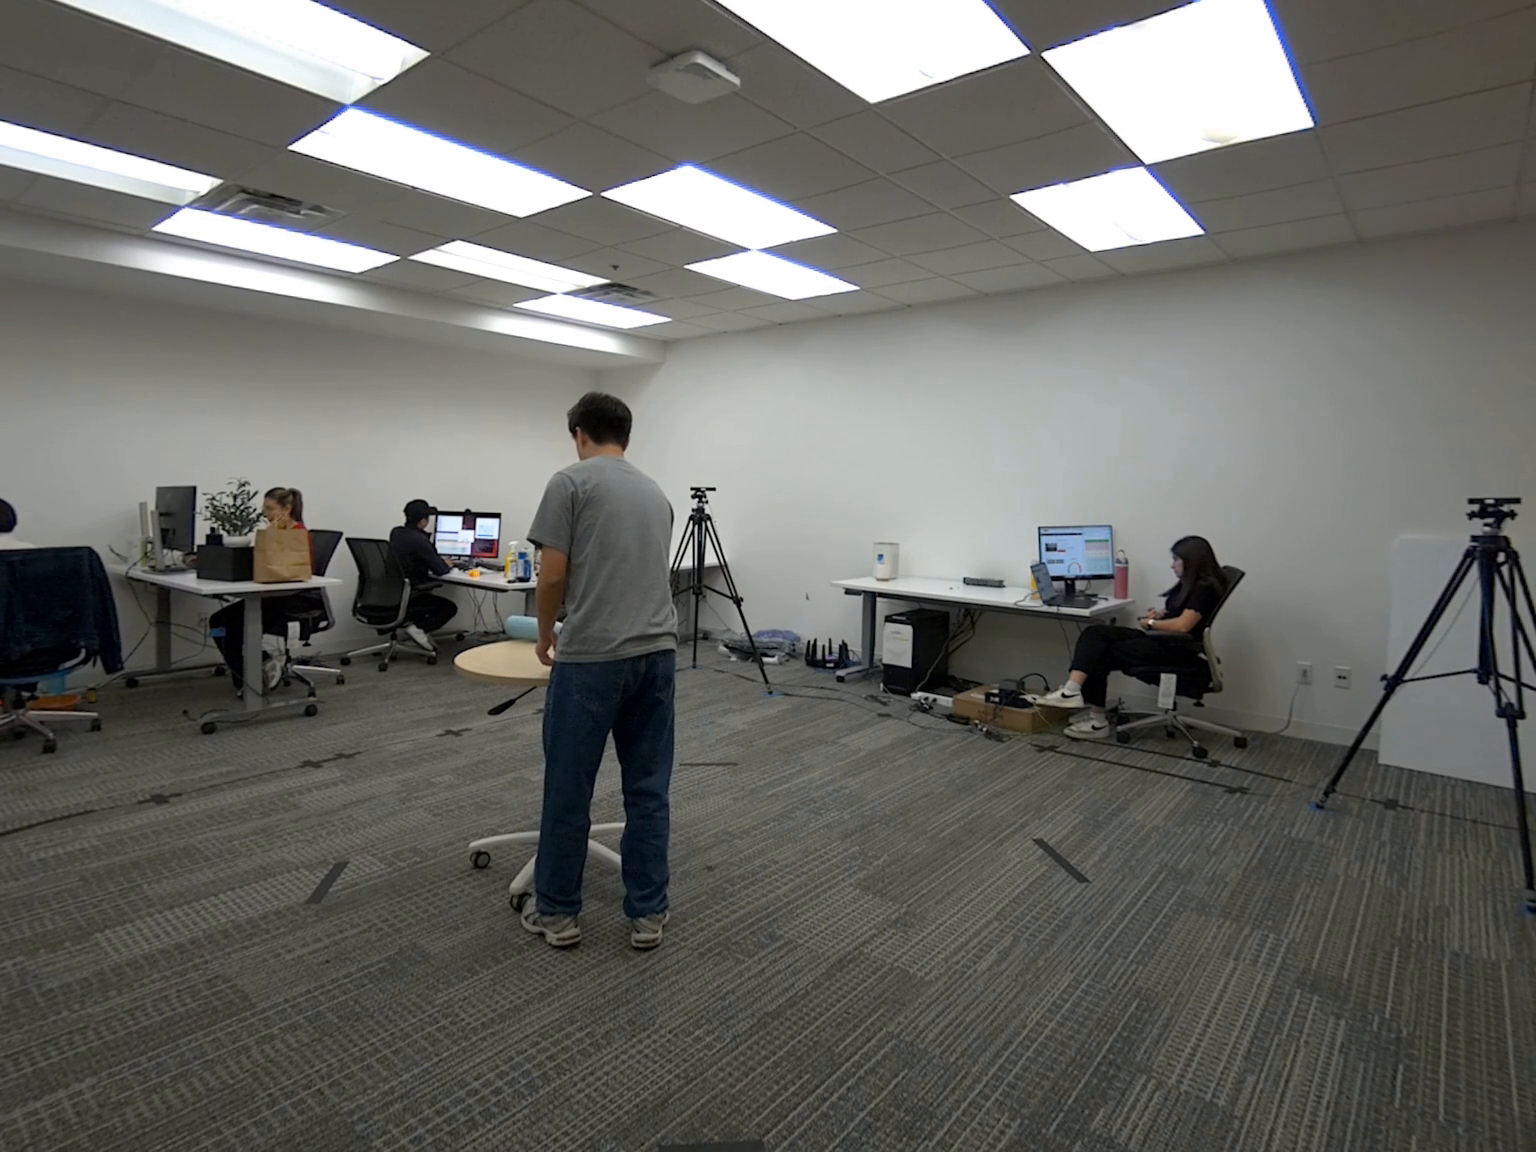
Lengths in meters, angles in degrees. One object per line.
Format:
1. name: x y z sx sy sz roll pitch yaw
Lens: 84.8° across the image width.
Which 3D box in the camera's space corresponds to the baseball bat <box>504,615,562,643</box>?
1. baseball bat: -0.783 0.227 3.251 0.555 0.089 0.087 6 6 20
